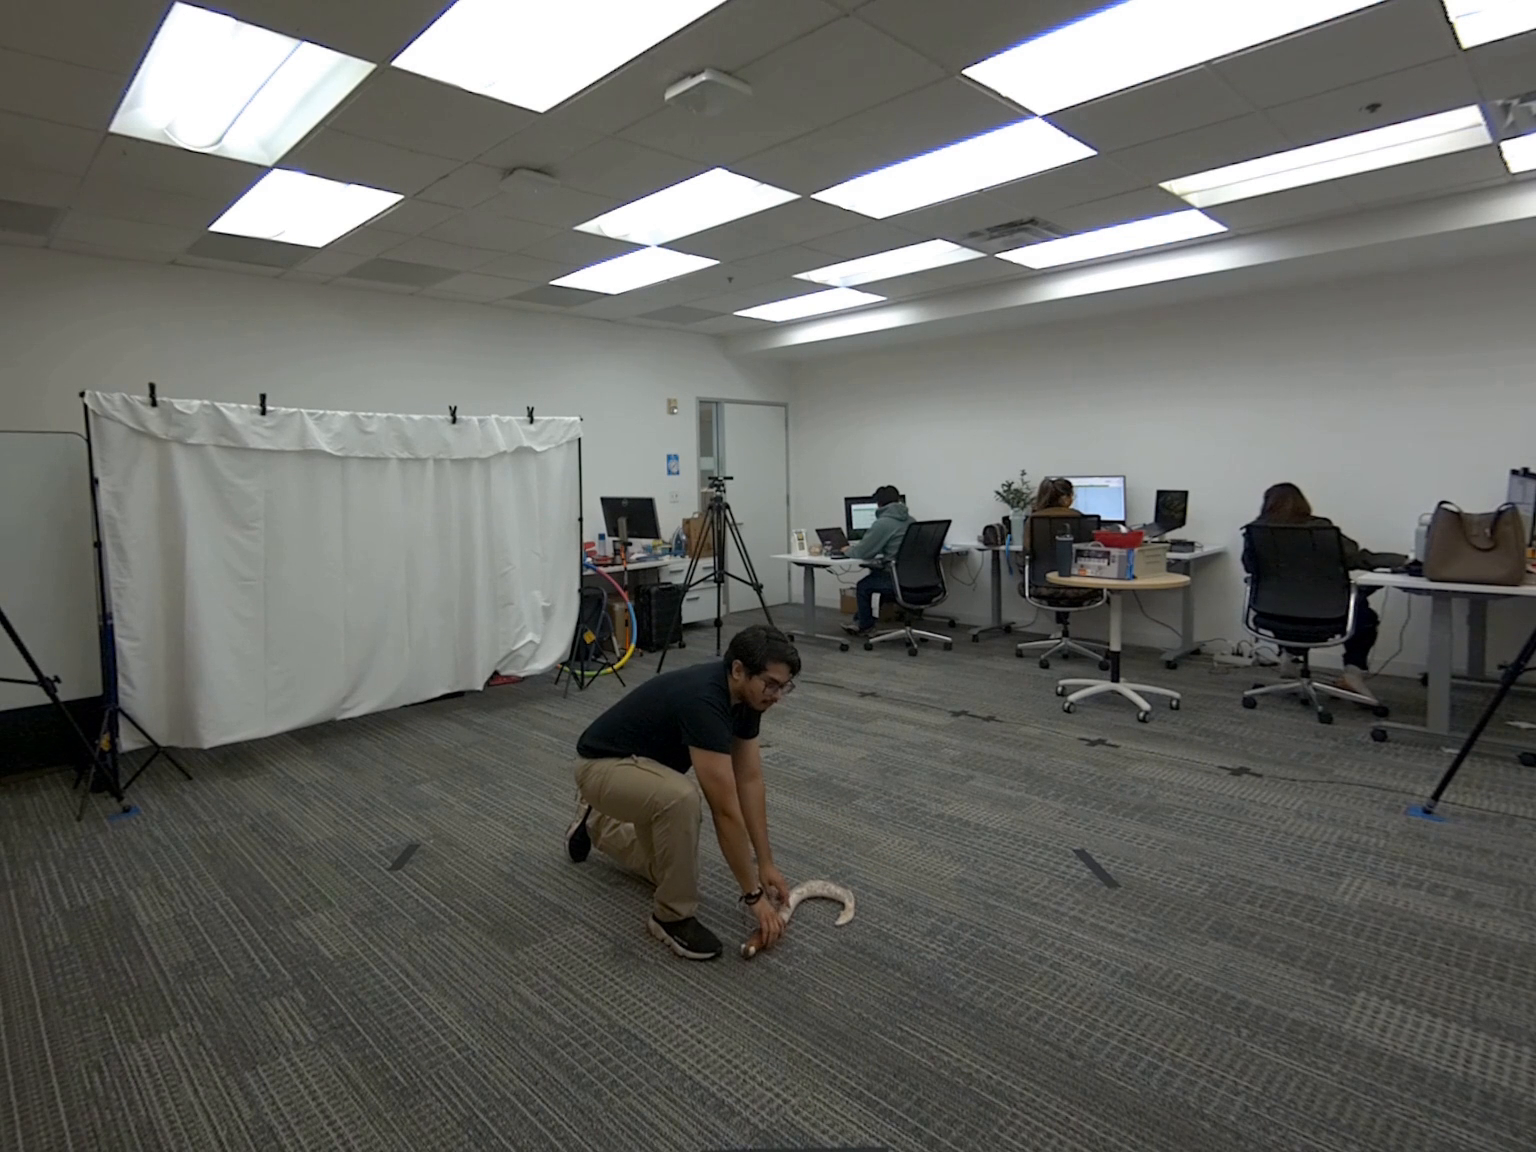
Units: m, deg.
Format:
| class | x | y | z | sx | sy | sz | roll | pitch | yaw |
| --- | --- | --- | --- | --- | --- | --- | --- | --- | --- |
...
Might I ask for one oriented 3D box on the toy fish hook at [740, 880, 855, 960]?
| class | x | y | z | sx | sy | sz | roll | pitch | yaw |
| --- | --- | --- | --- | --- | --- | --- | --- | --- | --- |
| toy fish hook | 0.107 | 1.068 | 2.642 | 0.231 | 0.048 | 0.496 | 2 | 9 | 32 |
